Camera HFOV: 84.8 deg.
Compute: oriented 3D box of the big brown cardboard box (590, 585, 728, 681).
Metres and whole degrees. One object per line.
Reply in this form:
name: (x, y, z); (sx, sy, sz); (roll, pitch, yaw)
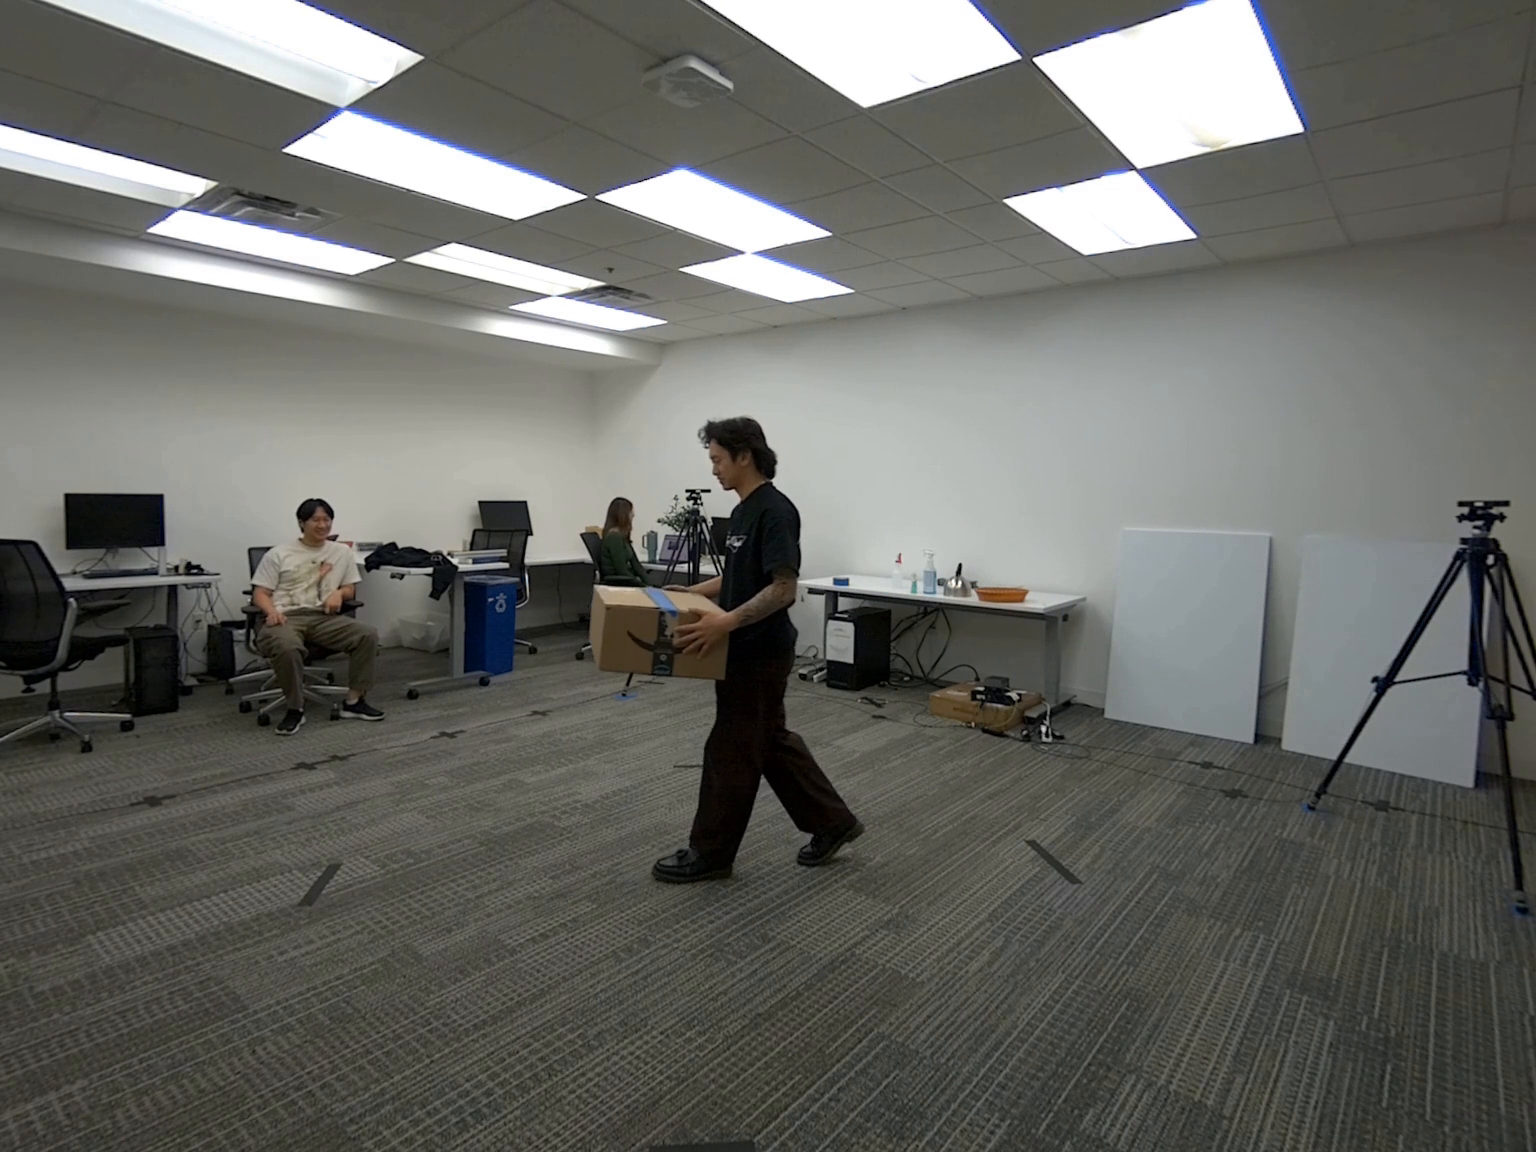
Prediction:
big brown cardboard box: (-0.414, 0.176, 3.020); (0.411, 0.232, 0.600); (6, 5, -14)
